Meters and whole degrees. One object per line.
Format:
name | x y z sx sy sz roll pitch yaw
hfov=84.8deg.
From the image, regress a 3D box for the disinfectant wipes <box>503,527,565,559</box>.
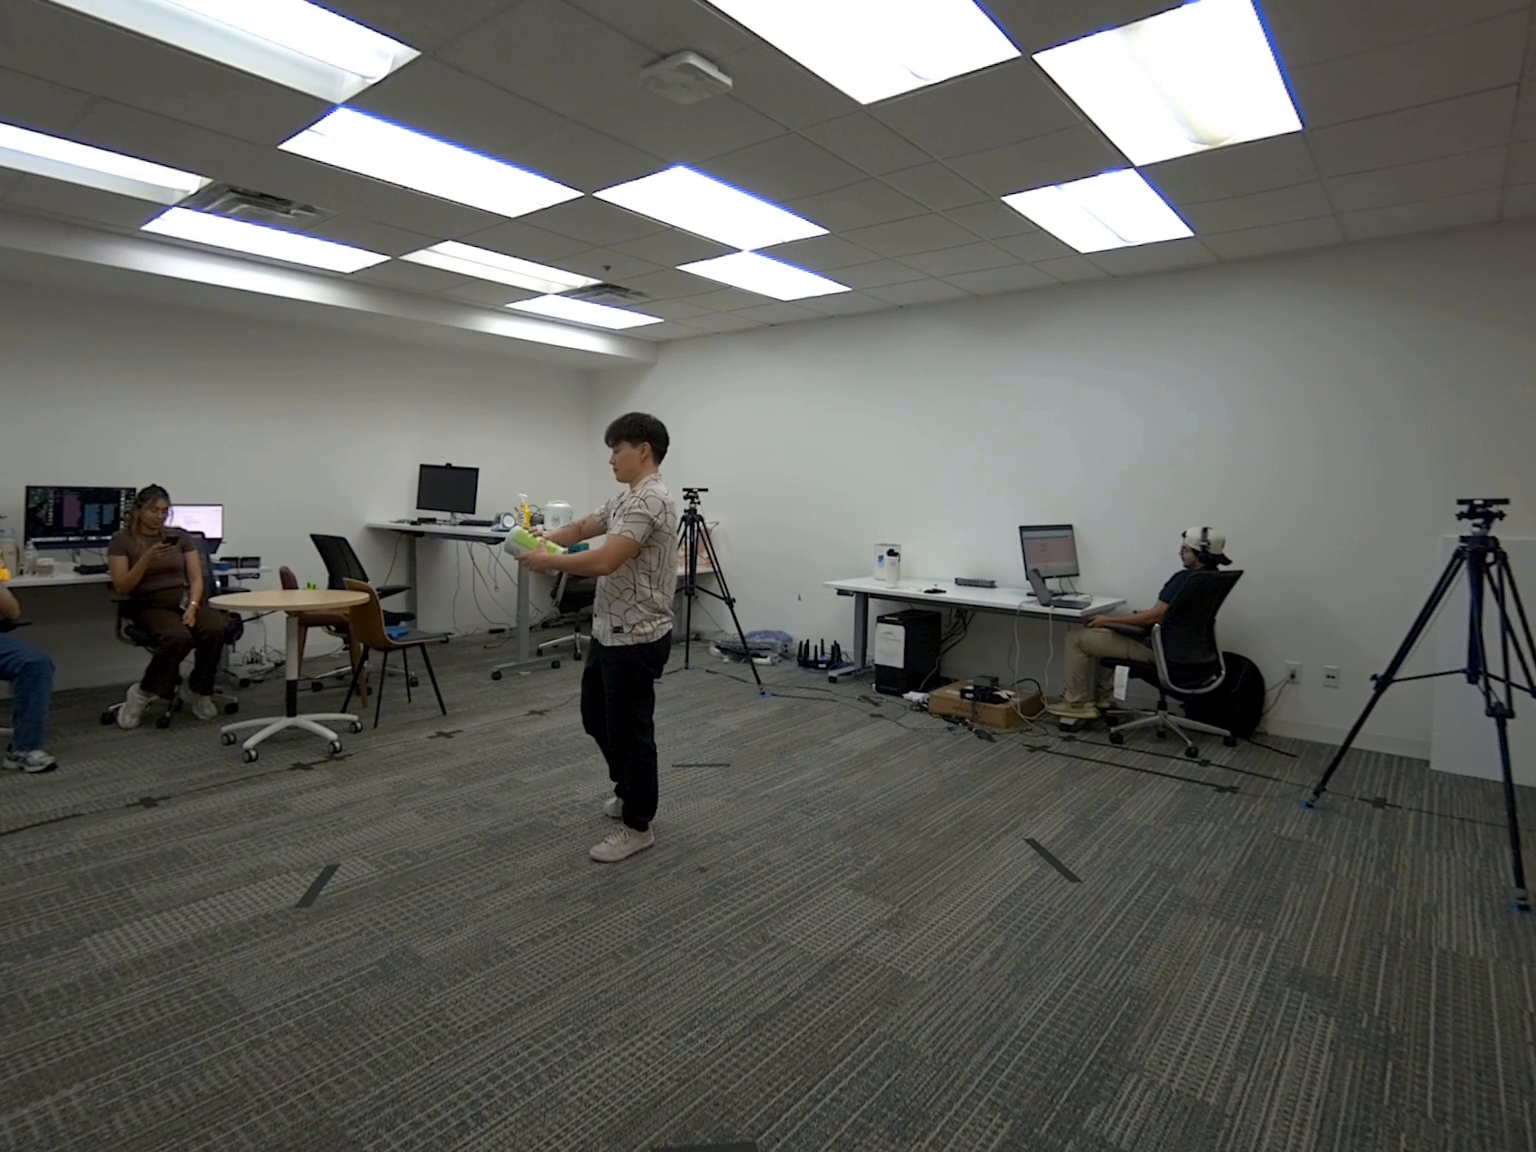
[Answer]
disinfectant wipes | -0.881 -0.101 3.165 0.219 0.117 0.117 21 5 4
